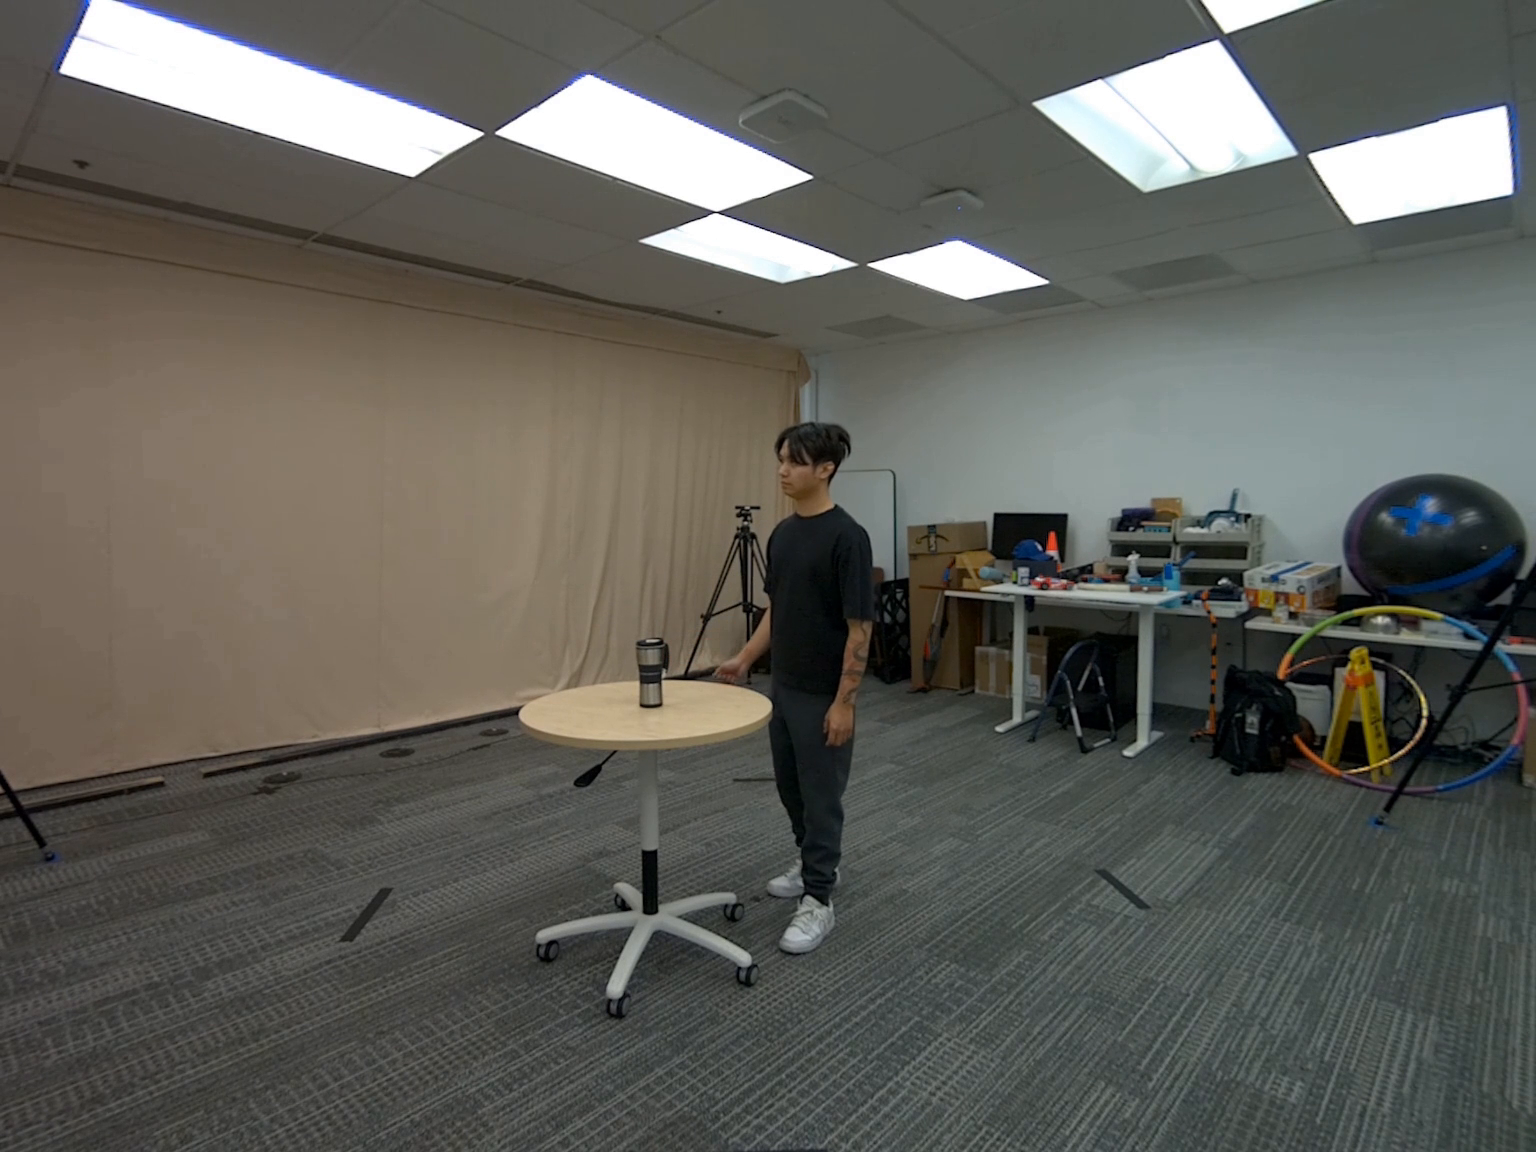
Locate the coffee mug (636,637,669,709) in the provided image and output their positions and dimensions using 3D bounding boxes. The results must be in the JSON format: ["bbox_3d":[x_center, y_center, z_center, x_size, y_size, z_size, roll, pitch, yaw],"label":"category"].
[{"bbox_3d":[-0.338,0.297,2.590,0.118,0.203,0.090,-6,1,-35],"label":"coffee mug"}]
